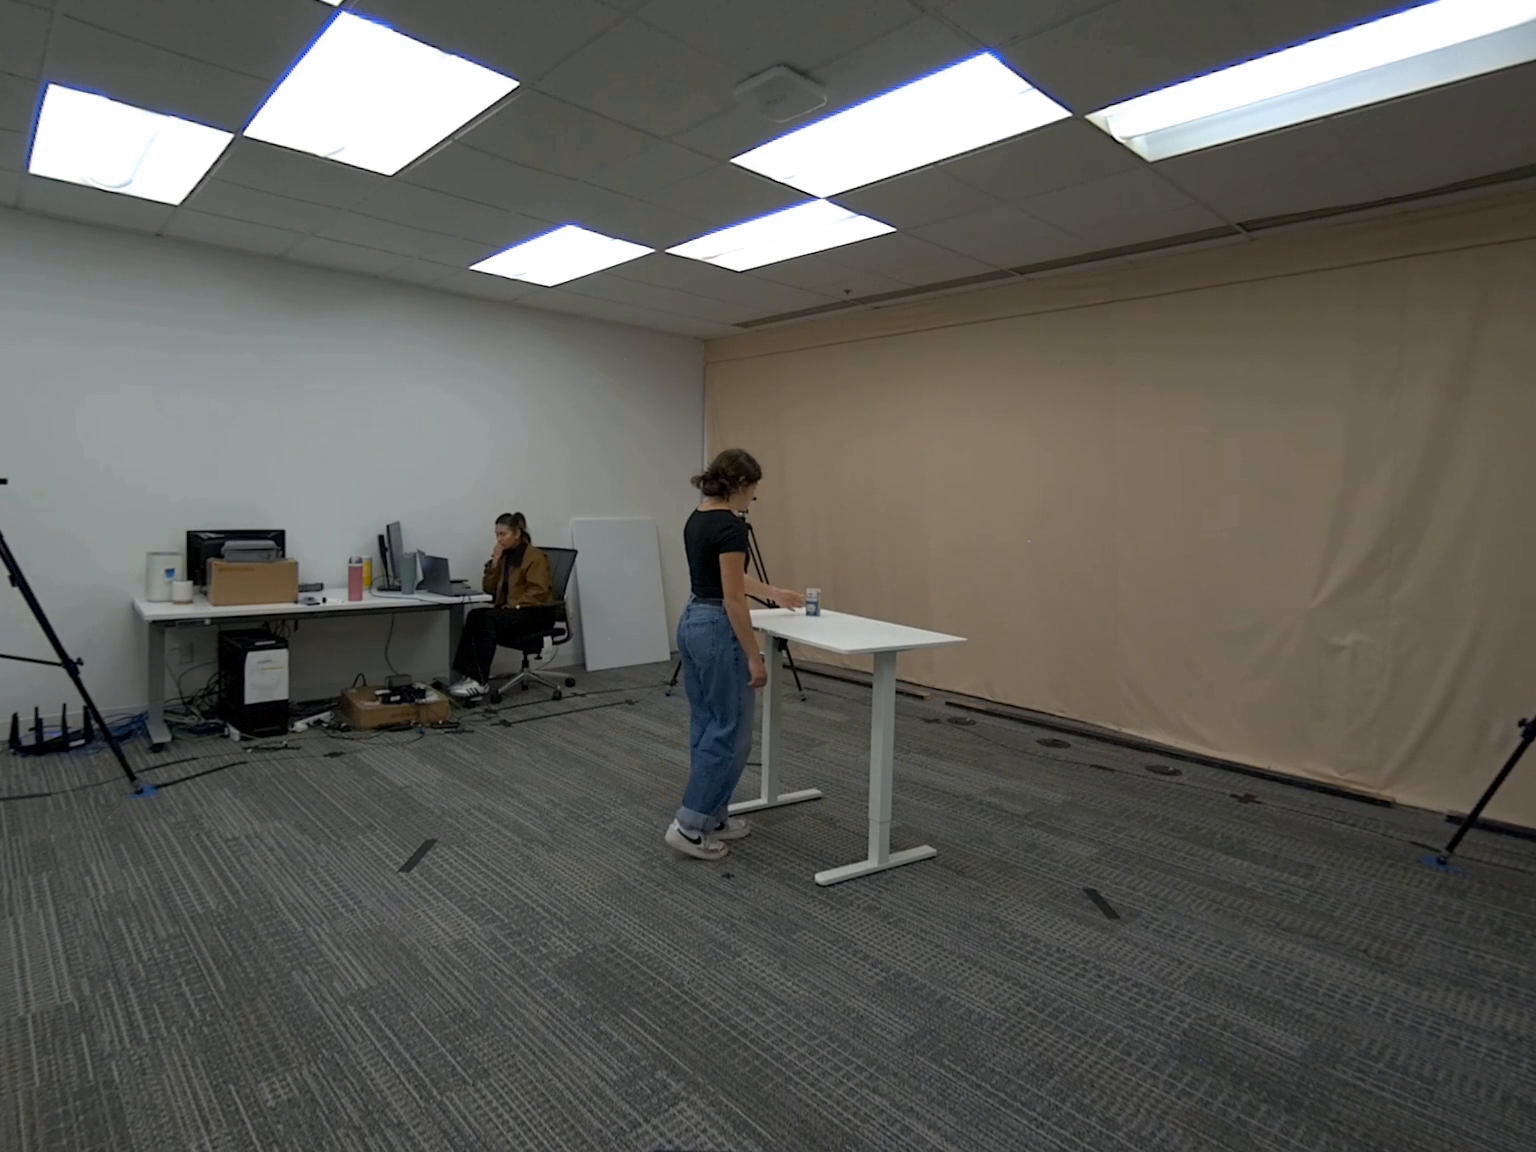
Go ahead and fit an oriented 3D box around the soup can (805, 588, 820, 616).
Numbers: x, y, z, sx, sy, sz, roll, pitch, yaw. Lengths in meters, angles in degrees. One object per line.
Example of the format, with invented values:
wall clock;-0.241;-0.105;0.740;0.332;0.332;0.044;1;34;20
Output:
soup can;0.189;0.118;3.753;0.067;0.121;0.067;1;1;-1
